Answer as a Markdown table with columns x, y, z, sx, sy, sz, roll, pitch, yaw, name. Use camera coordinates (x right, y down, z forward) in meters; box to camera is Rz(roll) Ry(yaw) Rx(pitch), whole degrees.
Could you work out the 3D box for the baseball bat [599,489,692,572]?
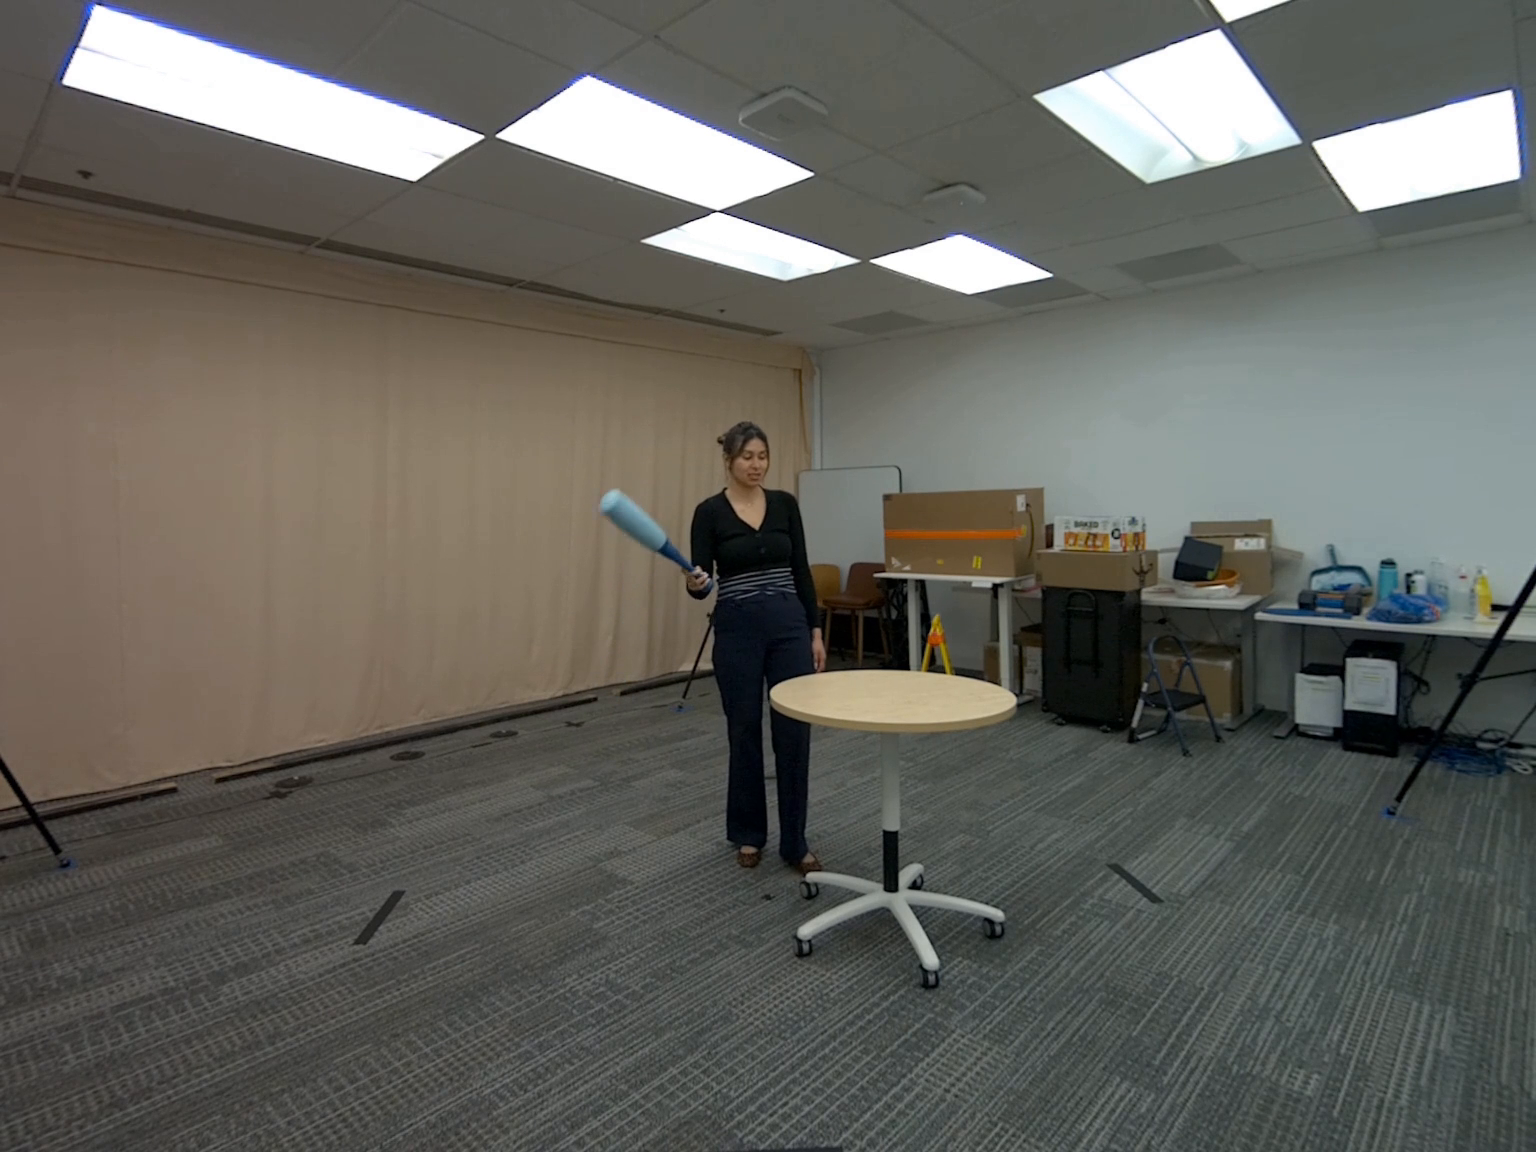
| x | y | z | sx | sy | sz | roll | pitch | yaw | name |
| --- | --- | --- | --- | --- | --- | --- | --- | --- | --- |
| -0.340 | -0.070 | 2.760 | 0.092 | 0.089 | 0.524 | 2 | -31 | 40 | baseball bat |
